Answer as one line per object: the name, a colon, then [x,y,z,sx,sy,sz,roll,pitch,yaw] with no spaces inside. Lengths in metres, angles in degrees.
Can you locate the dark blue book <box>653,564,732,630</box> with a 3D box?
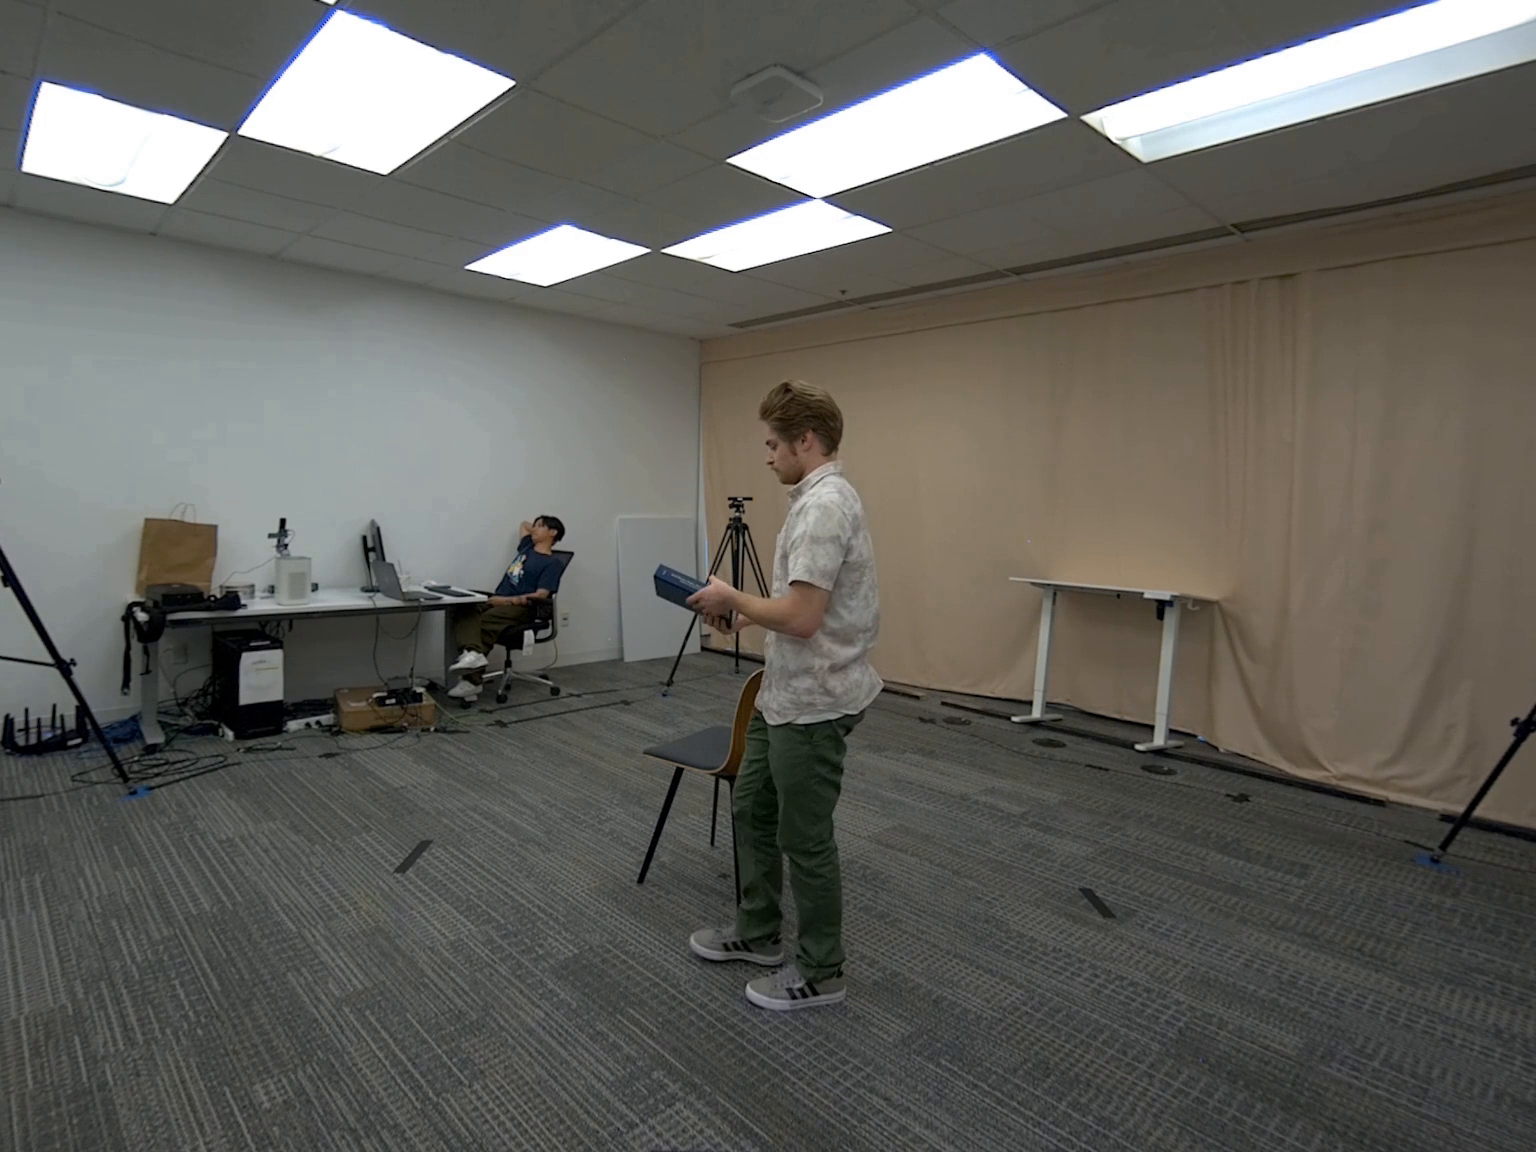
dark blue book: [-0.209,0.059,2.404,0.247,0.045,0.161,23,-22,7]
